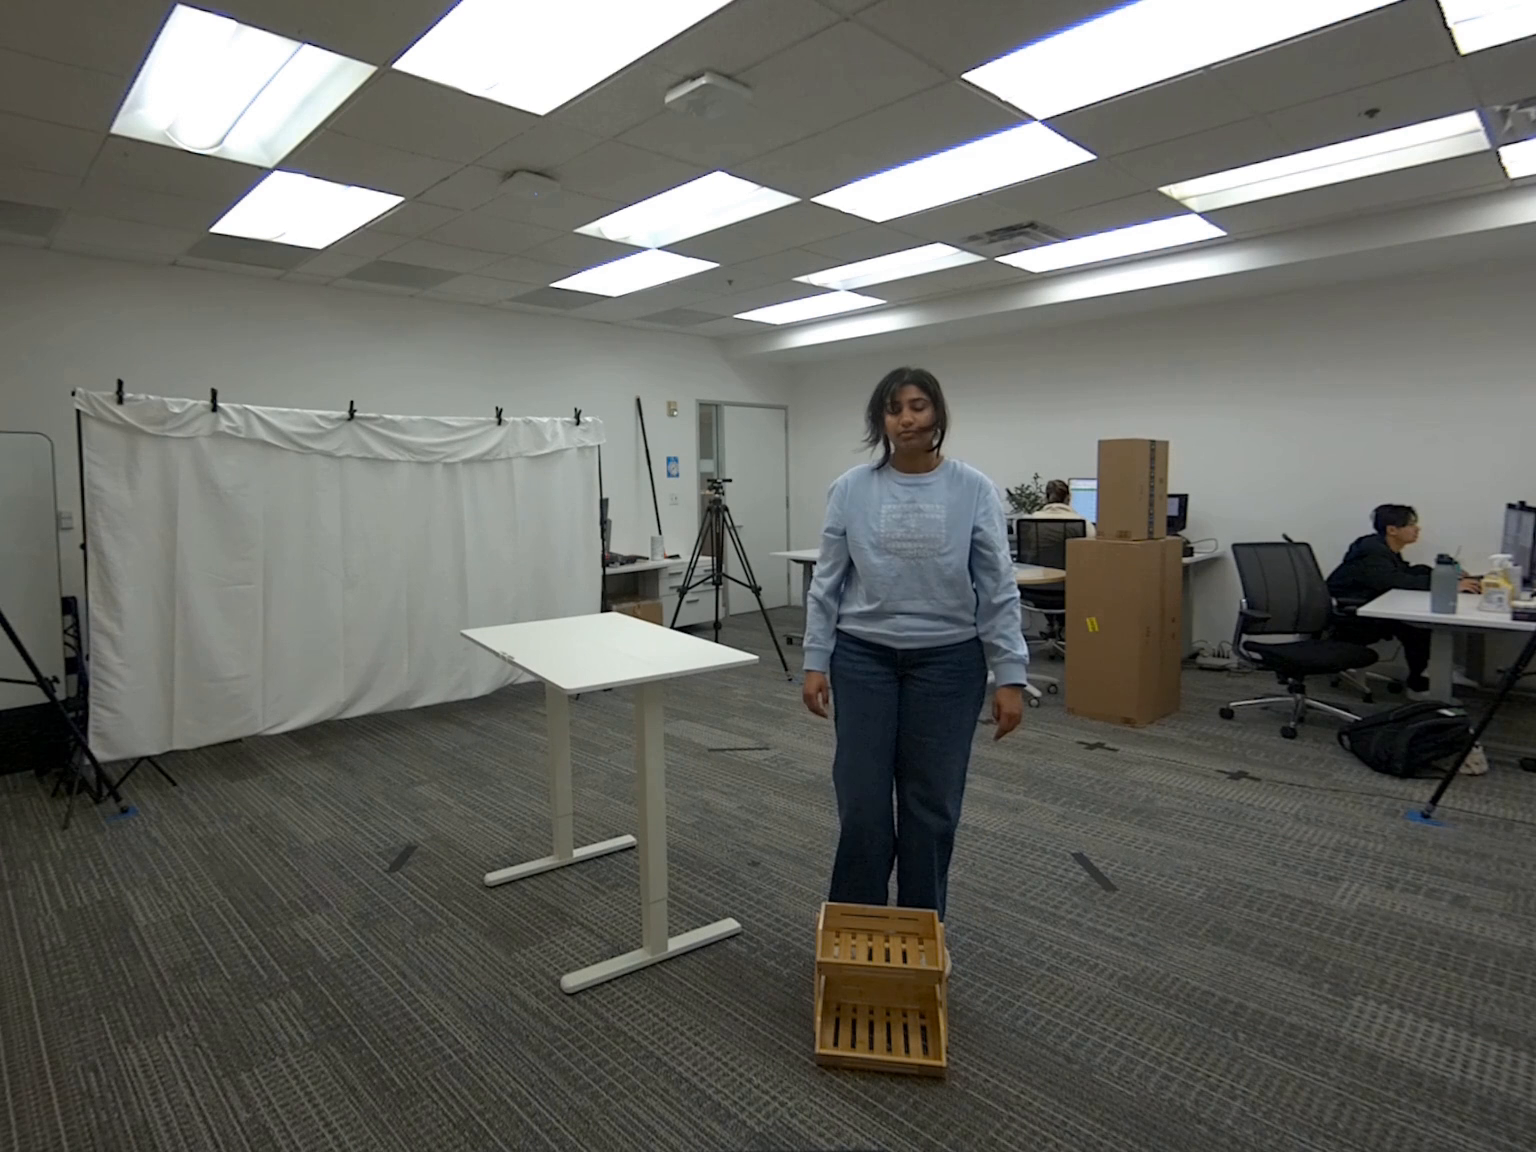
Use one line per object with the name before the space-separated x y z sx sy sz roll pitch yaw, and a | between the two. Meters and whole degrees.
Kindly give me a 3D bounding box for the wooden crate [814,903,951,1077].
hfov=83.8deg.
wooden crate | 0.287 1.027 2.119 0.327 0.272 0.300 0 4 8
